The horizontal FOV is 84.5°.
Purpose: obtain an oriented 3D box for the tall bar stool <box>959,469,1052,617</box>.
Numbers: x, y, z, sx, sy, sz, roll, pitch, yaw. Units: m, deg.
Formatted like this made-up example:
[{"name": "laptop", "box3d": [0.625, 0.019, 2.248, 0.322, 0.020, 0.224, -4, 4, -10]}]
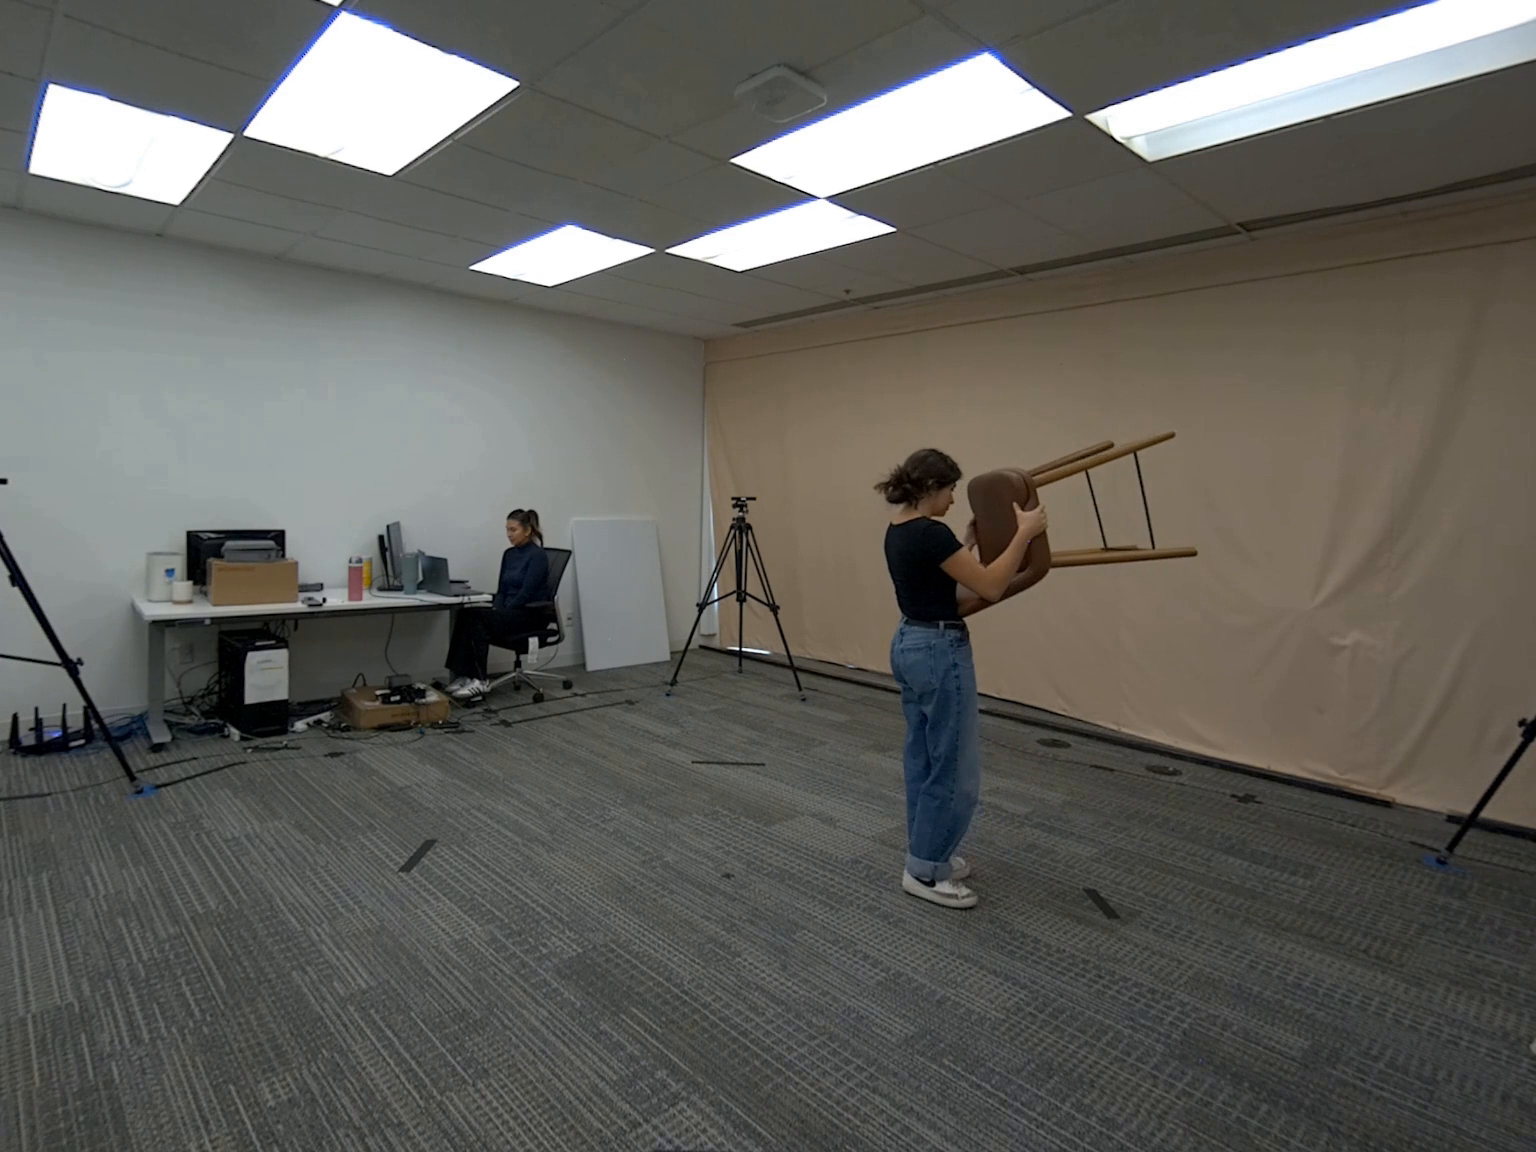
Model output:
[{"name": "tall bar stool", "box3d": [0.997, -0.192, 3.061, 0.887, 0.466, 0.459, -16, 4, -6]}]
